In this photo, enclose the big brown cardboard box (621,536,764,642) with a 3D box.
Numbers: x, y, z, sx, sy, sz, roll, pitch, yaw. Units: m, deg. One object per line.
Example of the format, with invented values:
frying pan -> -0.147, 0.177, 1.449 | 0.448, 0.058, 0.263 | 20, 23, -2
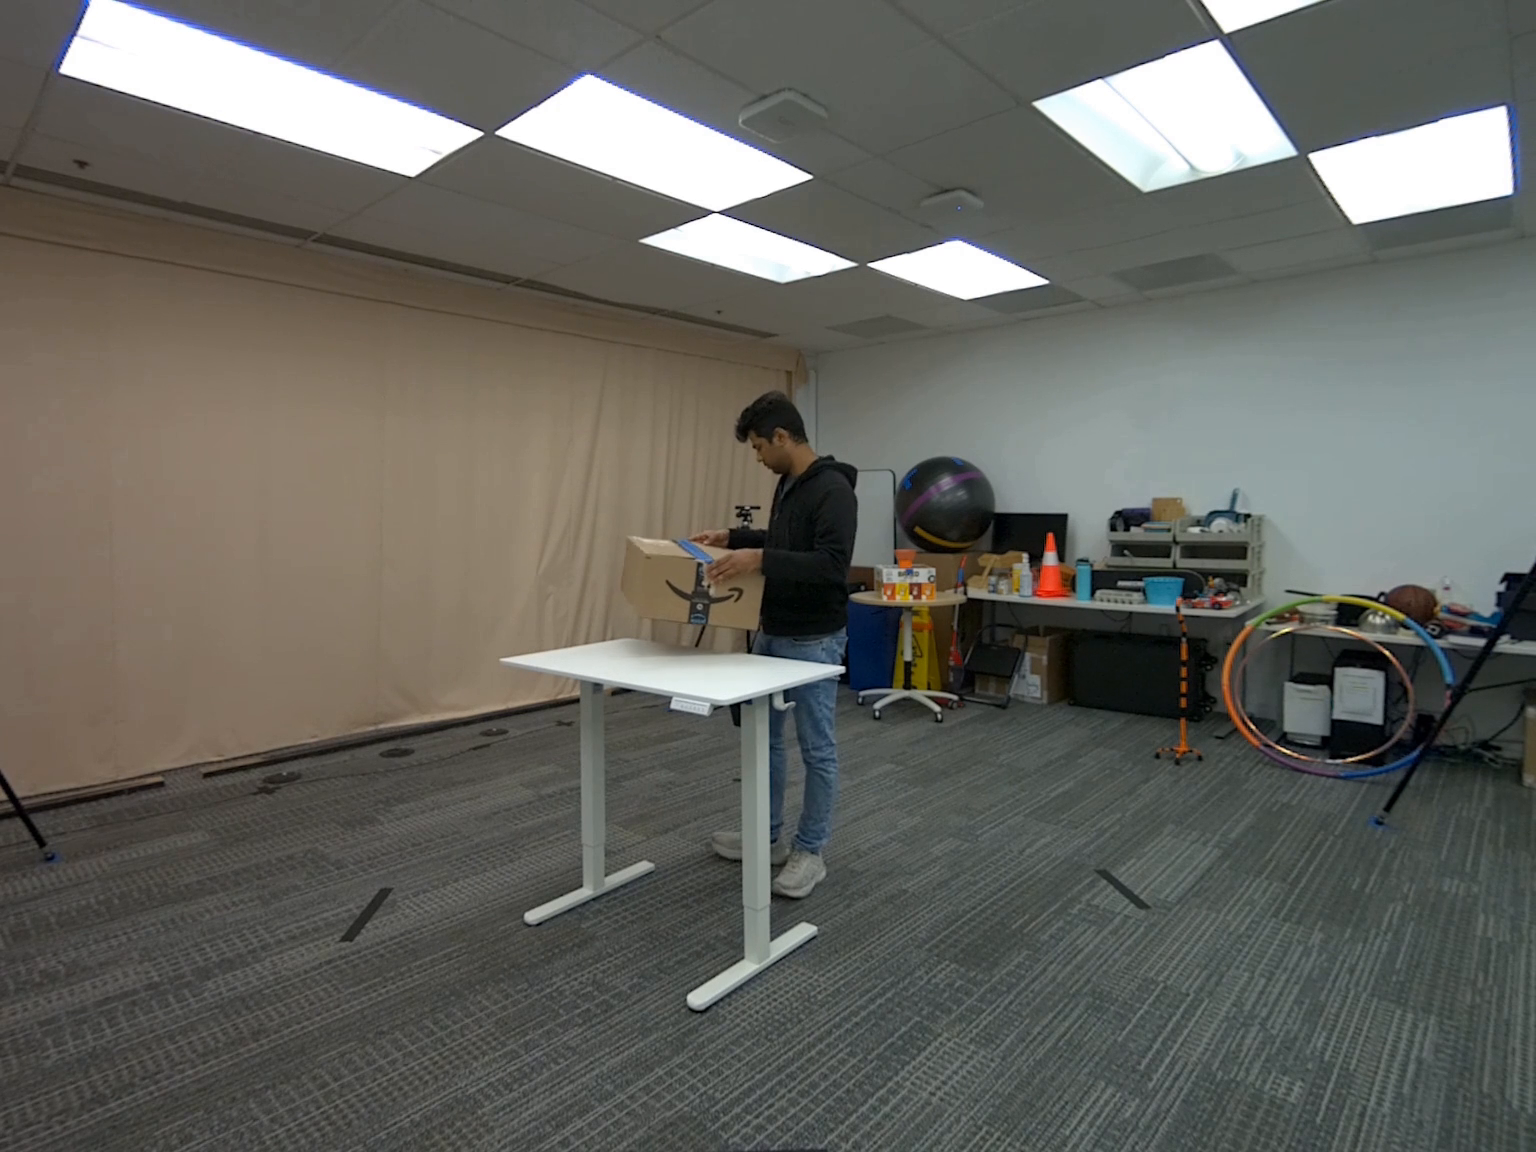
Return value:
big brown cardboard box -> -0.283, 0.014, 3.085 | 0.411, 0.232, 0.600 | 5, 7, -15
